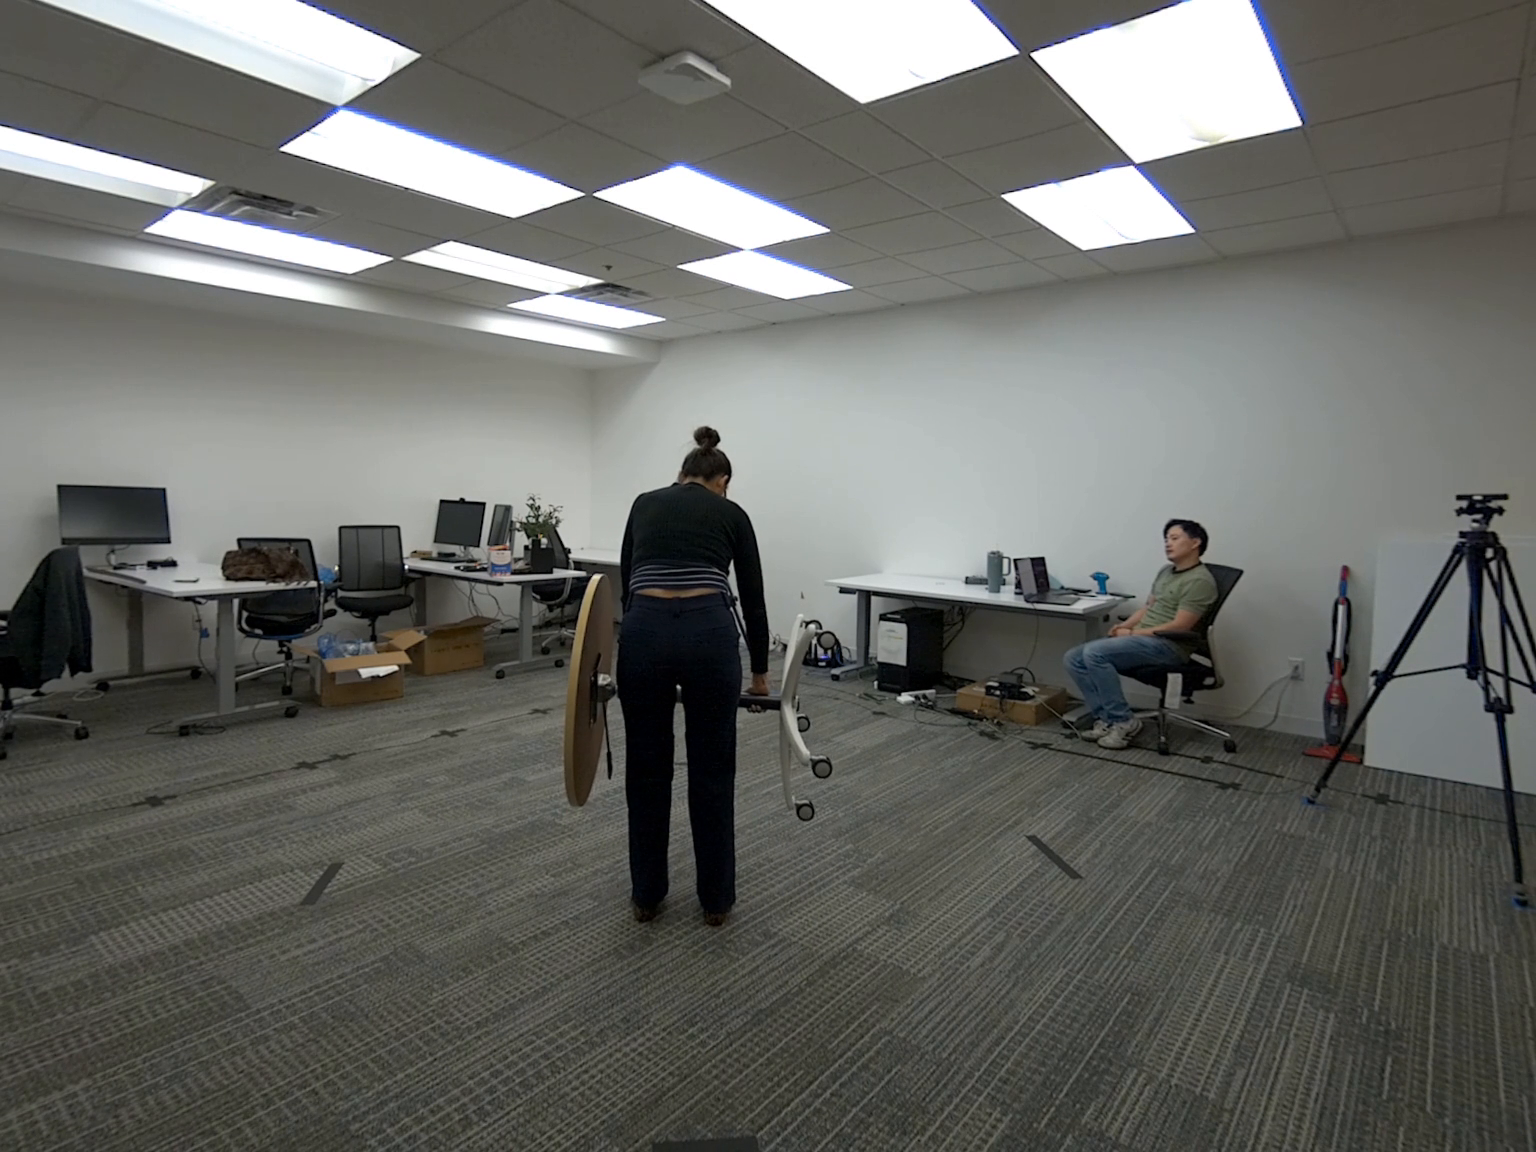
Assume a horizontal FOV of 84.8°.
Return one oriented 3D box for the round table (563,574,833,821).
[{"bbox_3d":[-0.221,0.410,2.867,0.794,0.762,0.767,5,4,-1],"label":"round table"}]
